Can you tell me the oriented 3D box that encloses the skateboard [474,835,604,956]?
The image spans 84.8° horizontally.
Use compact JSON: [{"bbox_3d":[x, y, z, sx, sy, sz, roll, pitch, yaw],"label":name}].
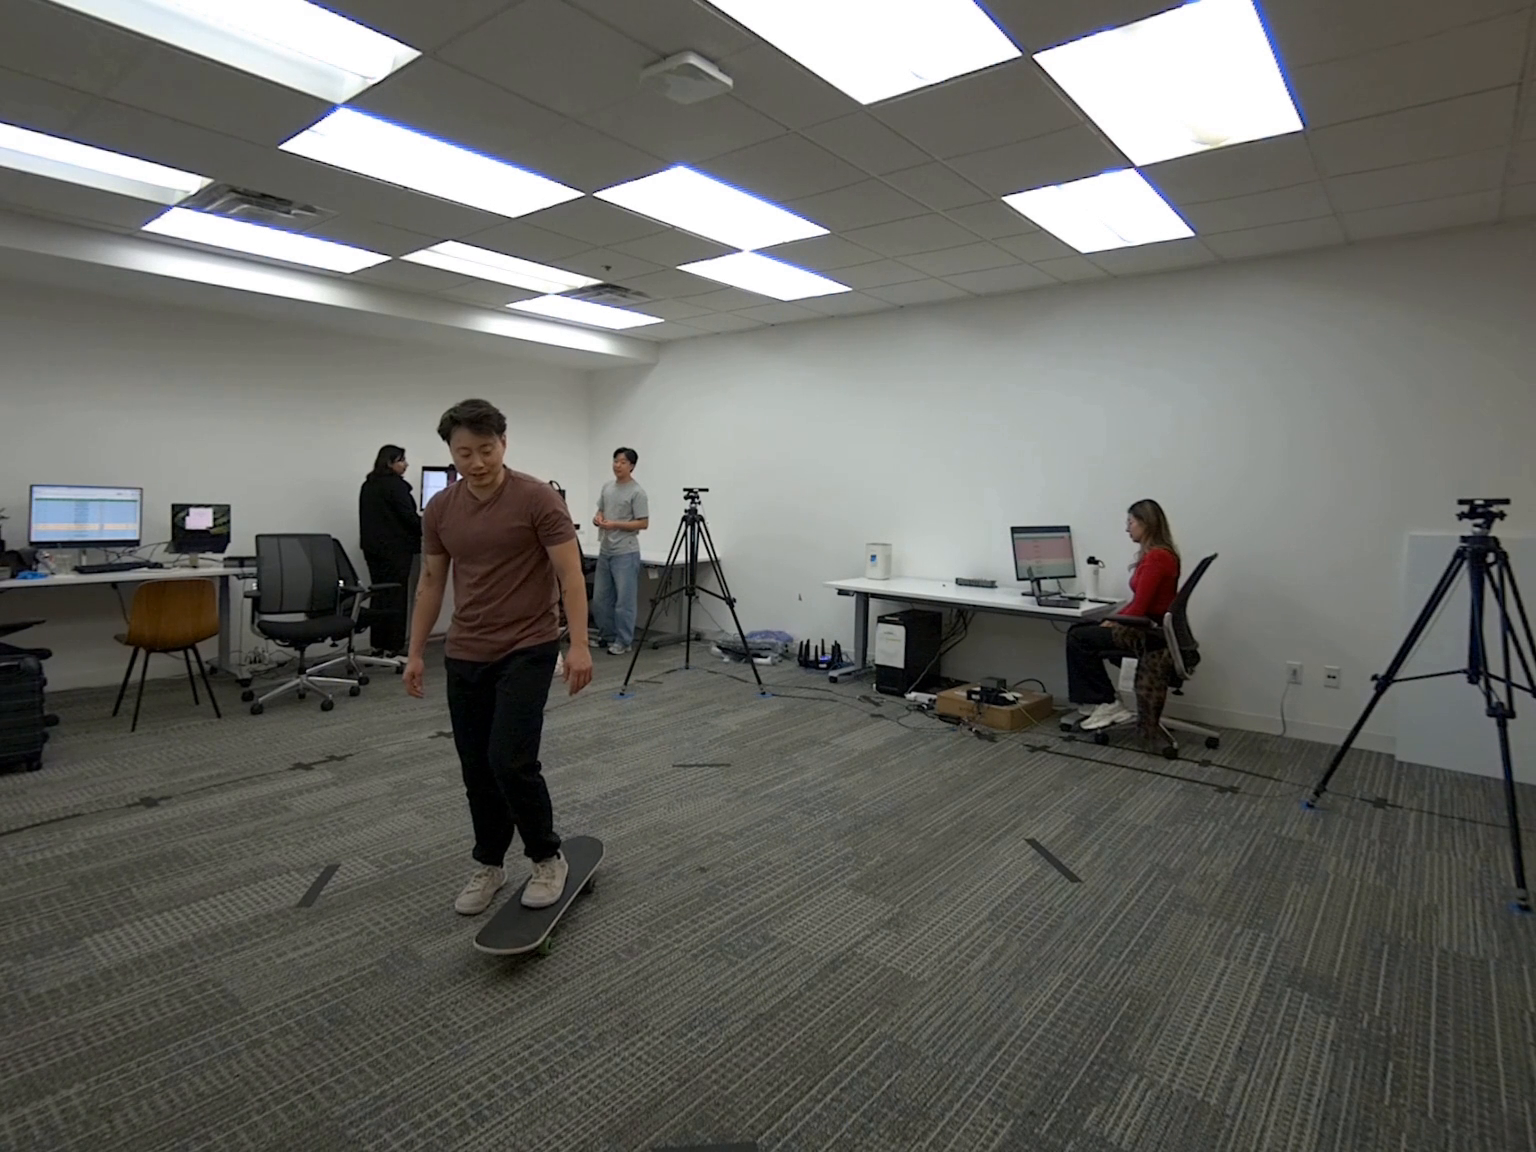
[{"bbox_3d":[-0.724,1.038,2.740,0.195,0.110,0.780,2,6,8],"label":"skateboard"}]
